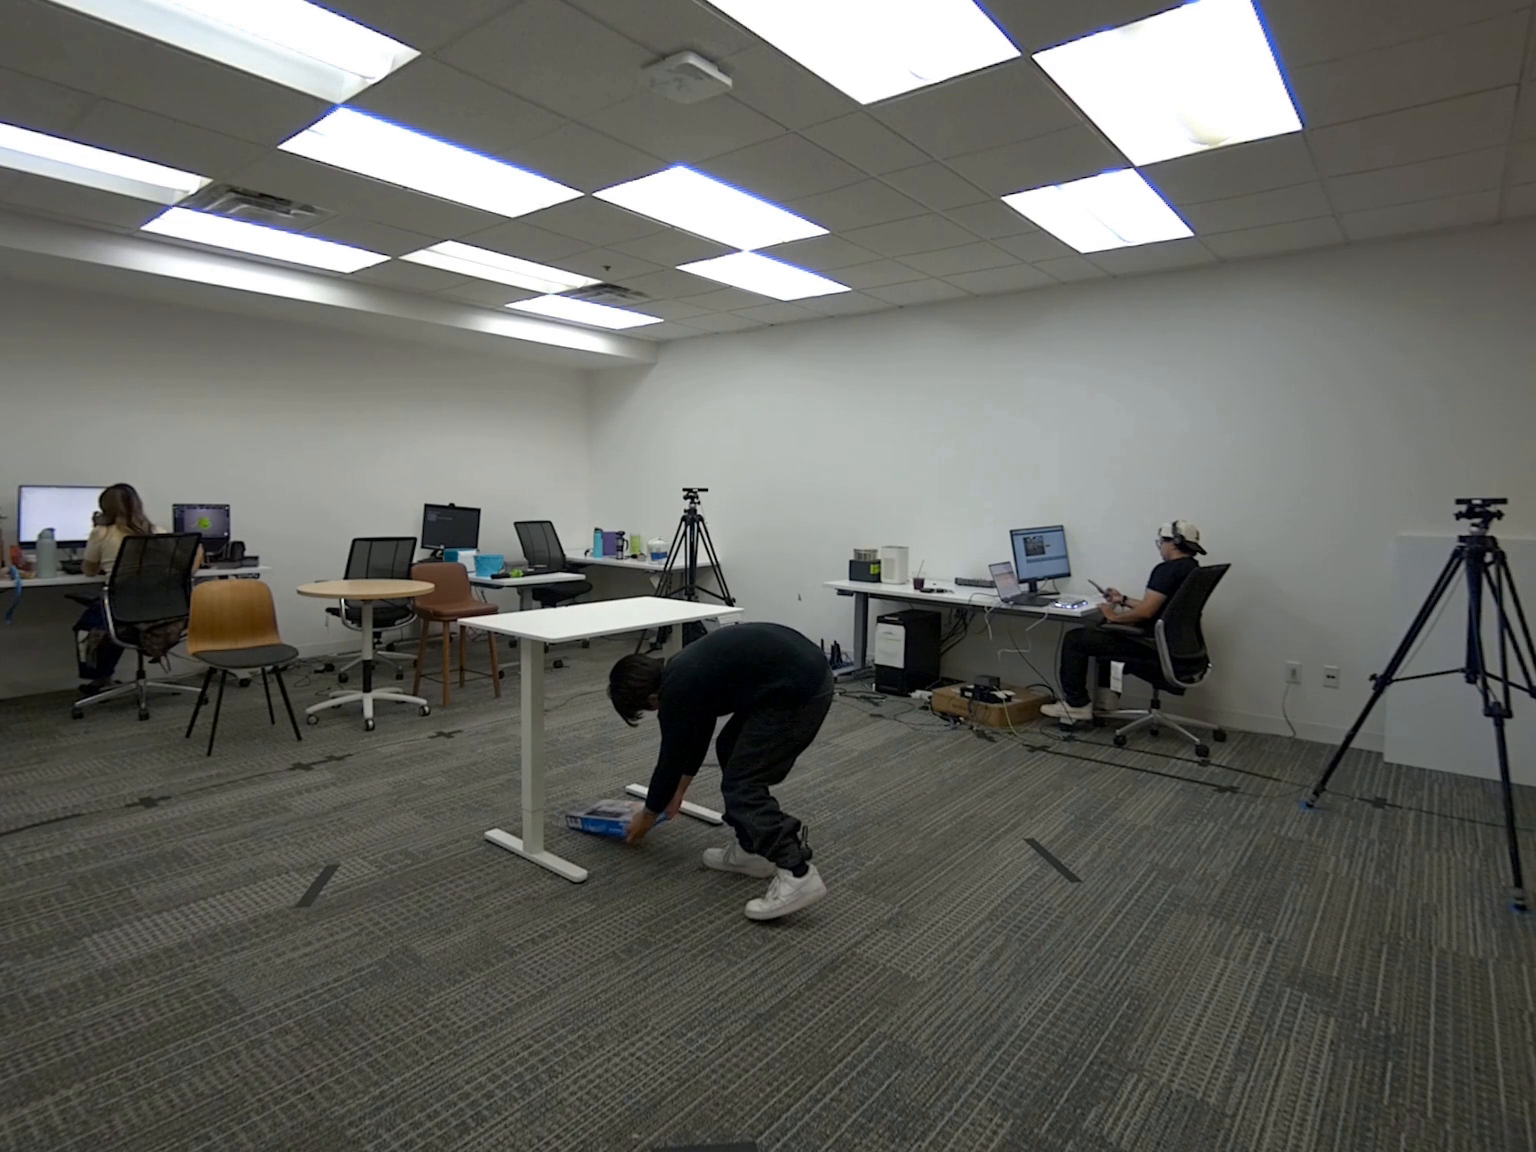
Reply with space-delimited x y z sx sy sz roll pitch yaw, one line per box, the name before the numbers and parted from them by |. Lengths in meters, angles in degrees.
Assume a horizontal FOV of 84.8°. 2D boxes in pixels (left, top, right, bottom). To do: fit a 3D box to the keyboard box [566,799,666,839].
keyboard box | -0.621 0.956 3.379 0.448 0.059 0.172 -10 6 43
